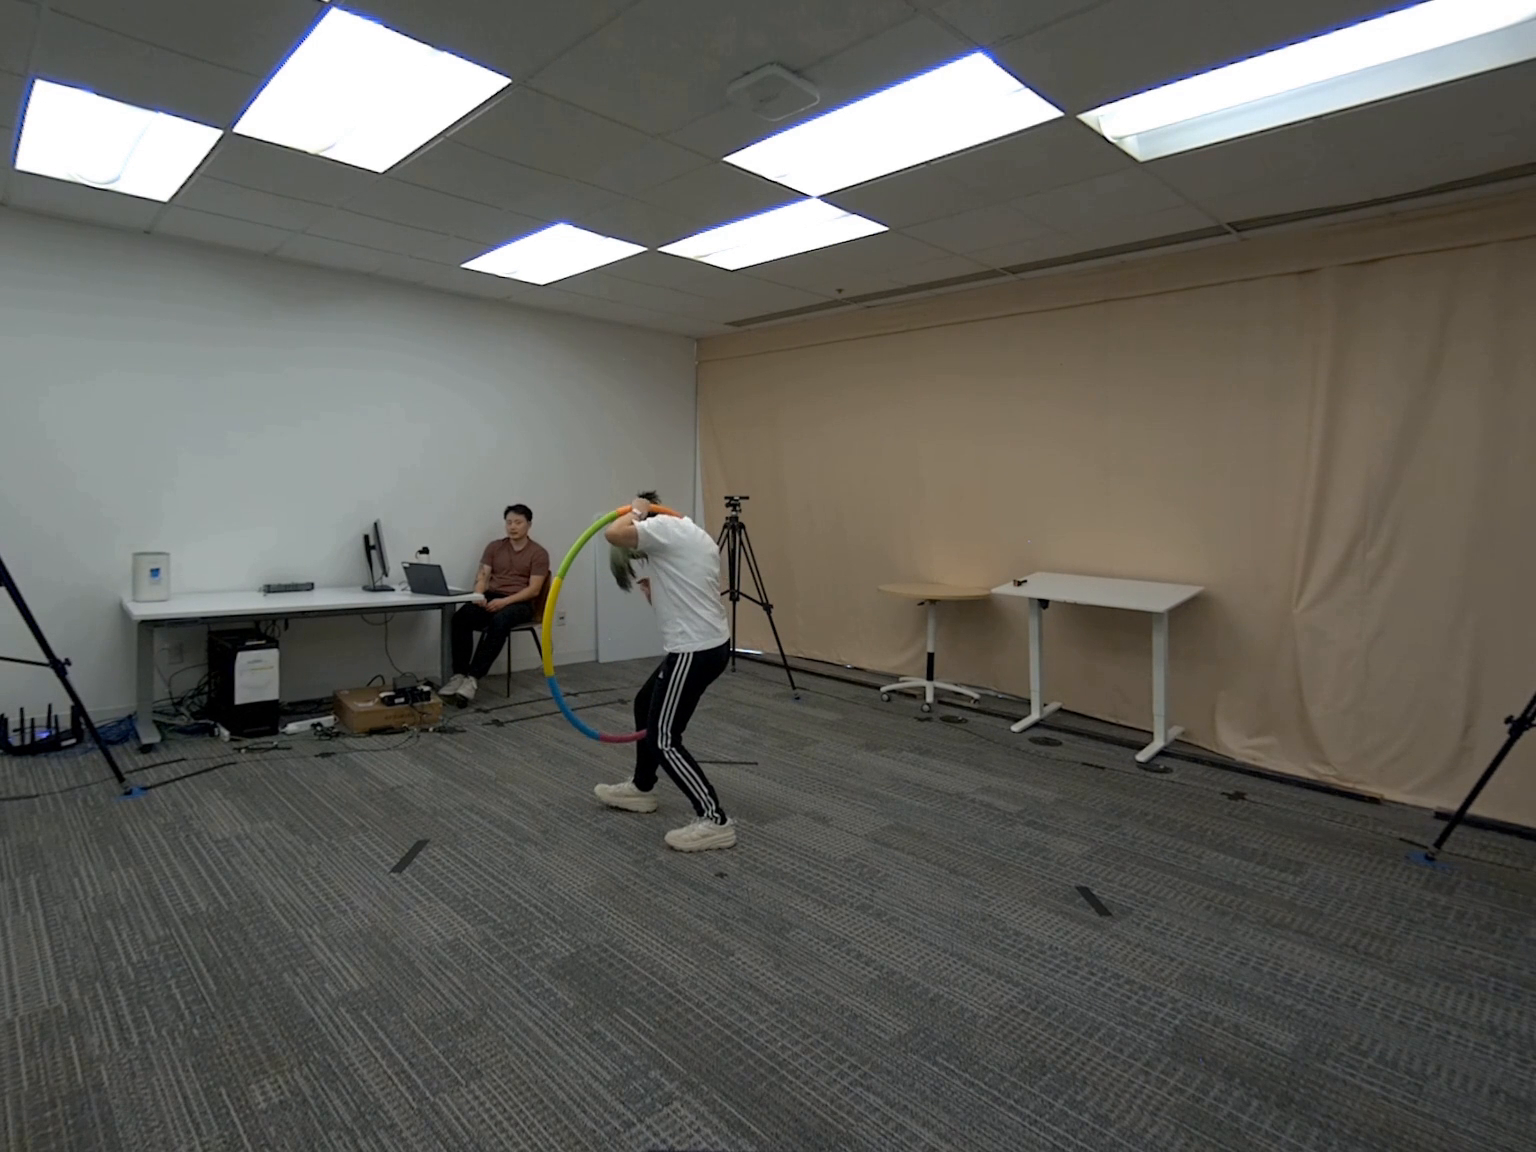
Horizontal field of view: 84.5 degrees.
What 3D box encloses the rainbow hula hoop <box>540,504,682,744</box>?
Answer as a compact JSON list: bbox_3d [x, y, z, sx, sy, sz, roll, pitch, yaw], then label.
[{"bbox_3d":[-0.526,0.192,3.484,0.036,0.975,0.957,6,6,39],"label":"rainbow hula hoop"}]
